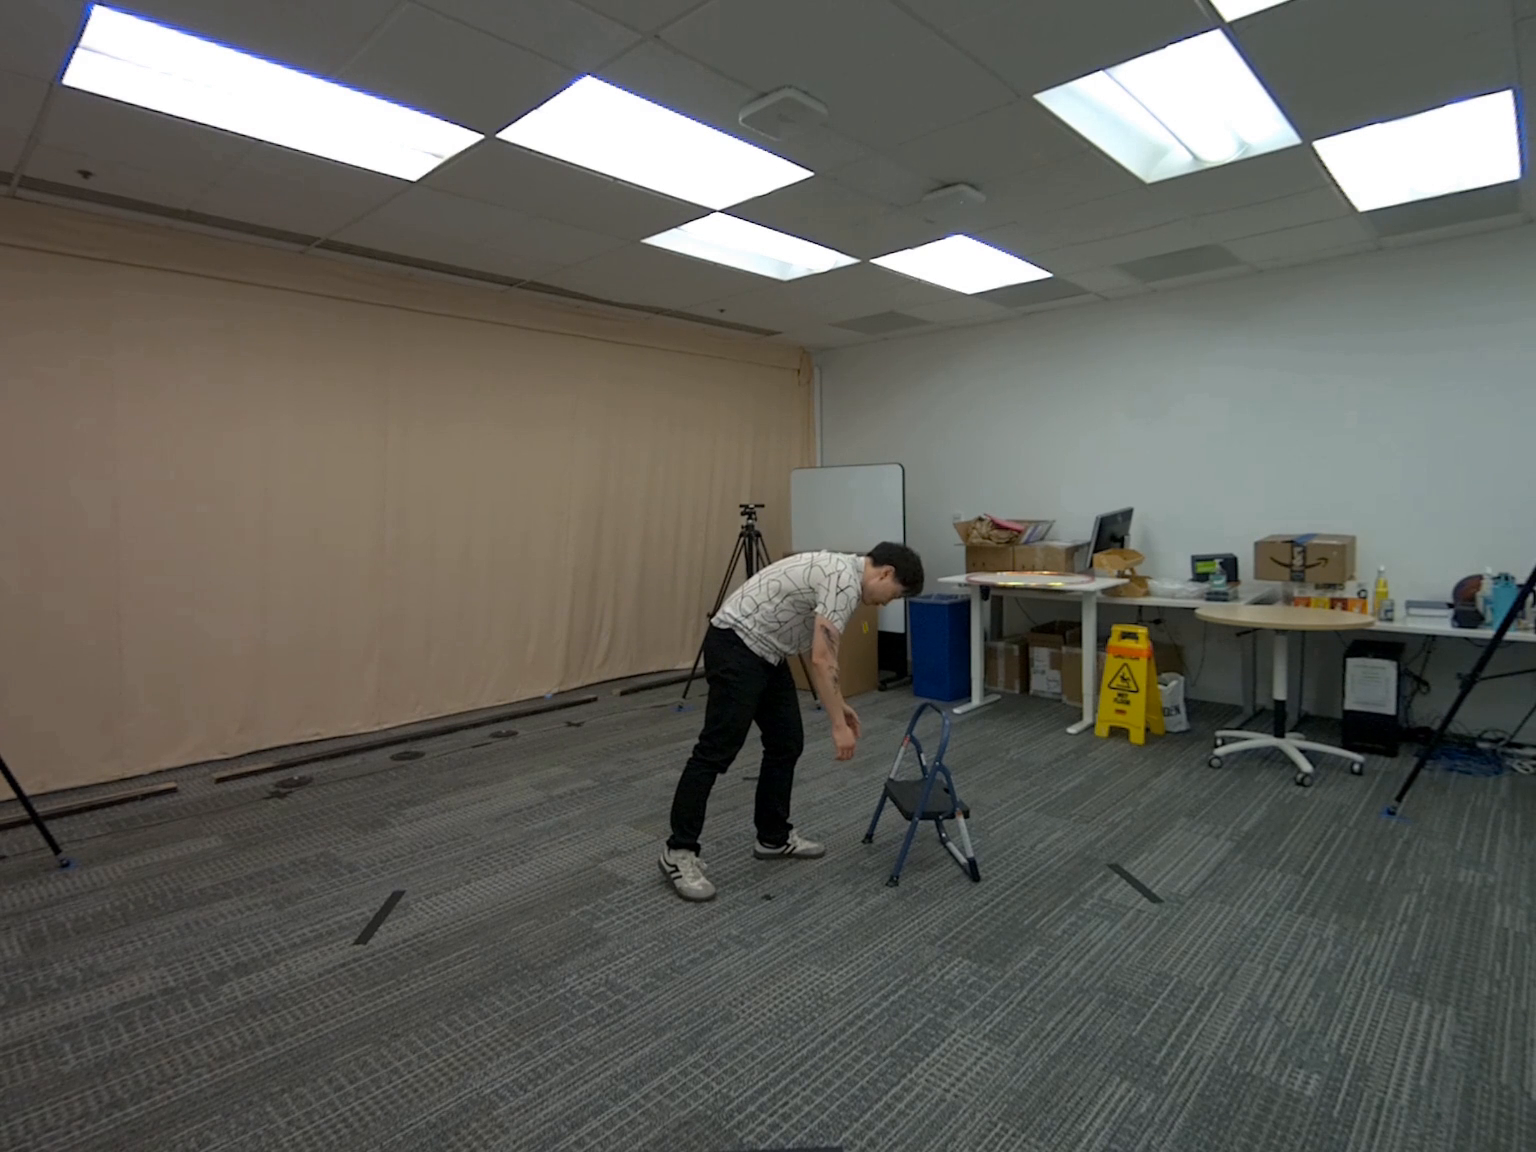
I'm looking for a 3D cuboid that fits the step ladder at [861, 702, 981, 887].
[{"bbox_3d":[0.585,0.805,3.248,0.348,0.604,0.434,-2,4,-5],"label":"step ladder"}]
